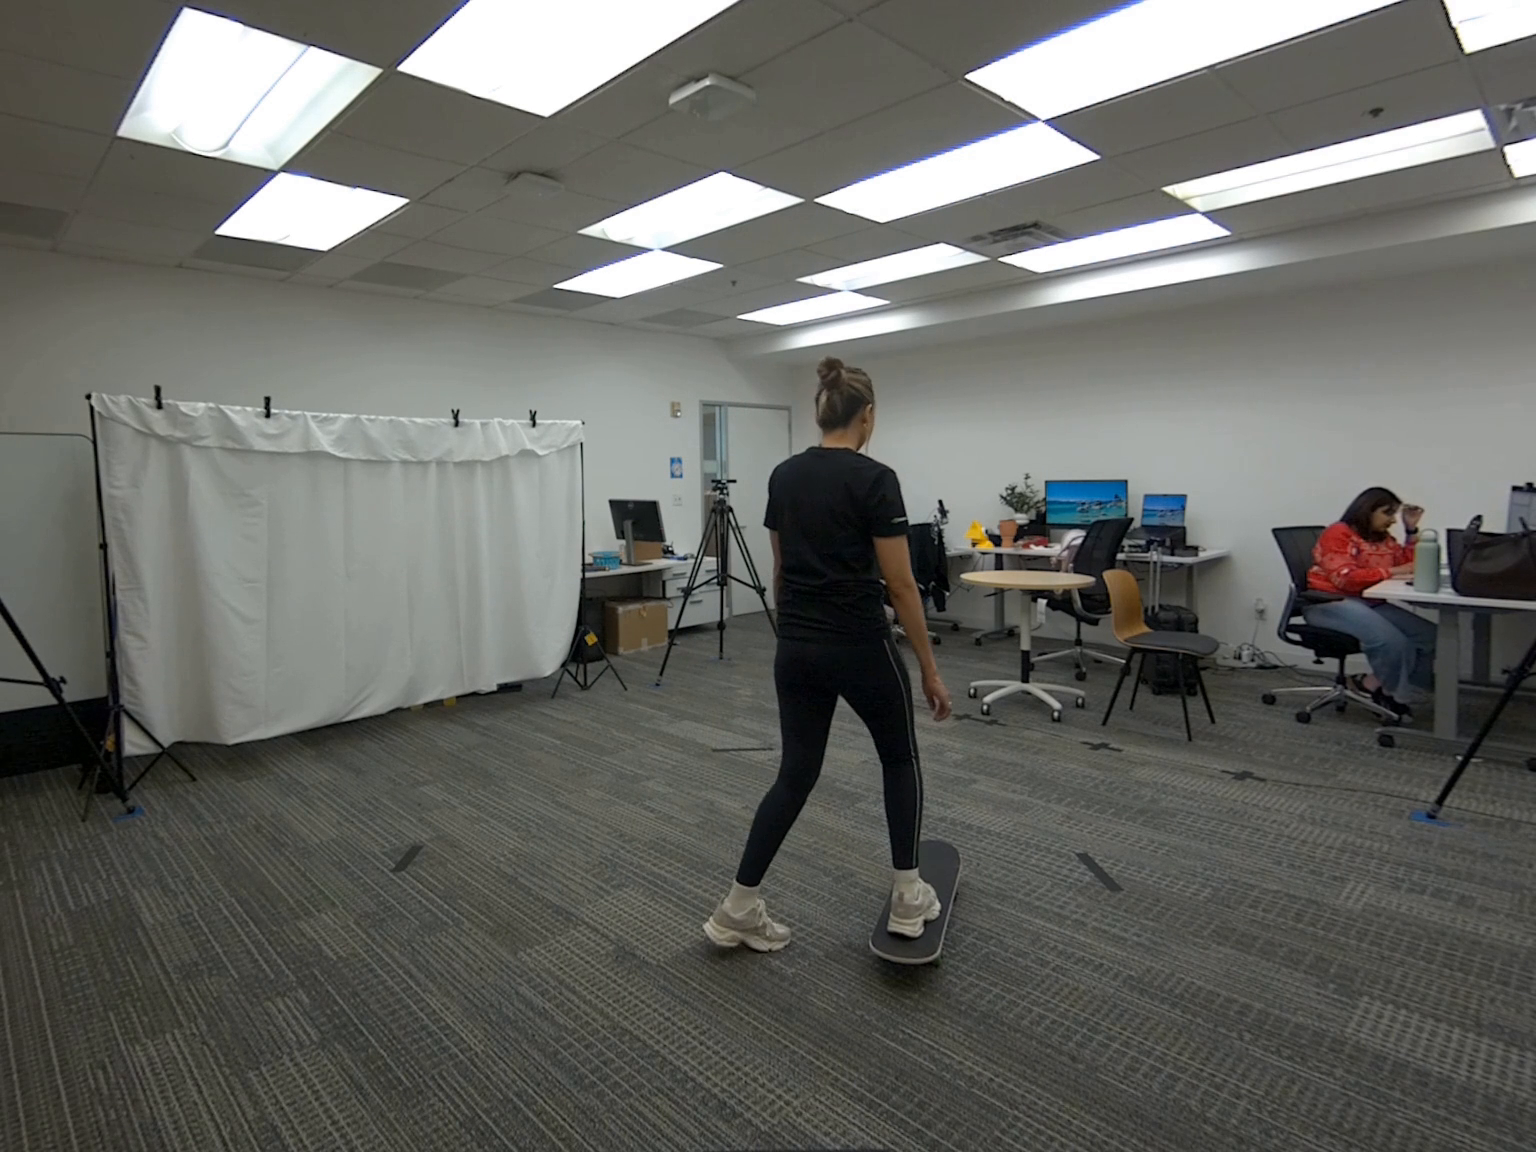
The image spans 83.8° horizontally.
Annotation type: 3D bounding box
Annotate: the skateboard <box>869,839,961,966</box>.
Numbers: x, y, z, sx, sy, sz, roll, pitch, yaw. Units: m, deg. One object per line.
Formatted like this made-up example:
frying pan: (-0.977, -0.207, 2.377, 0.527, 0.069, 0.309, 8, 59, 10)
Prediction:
skateboard: (0.475, 1.030, 2.664, 0.197, 0.110, 0.775, 1, 7, 18)
